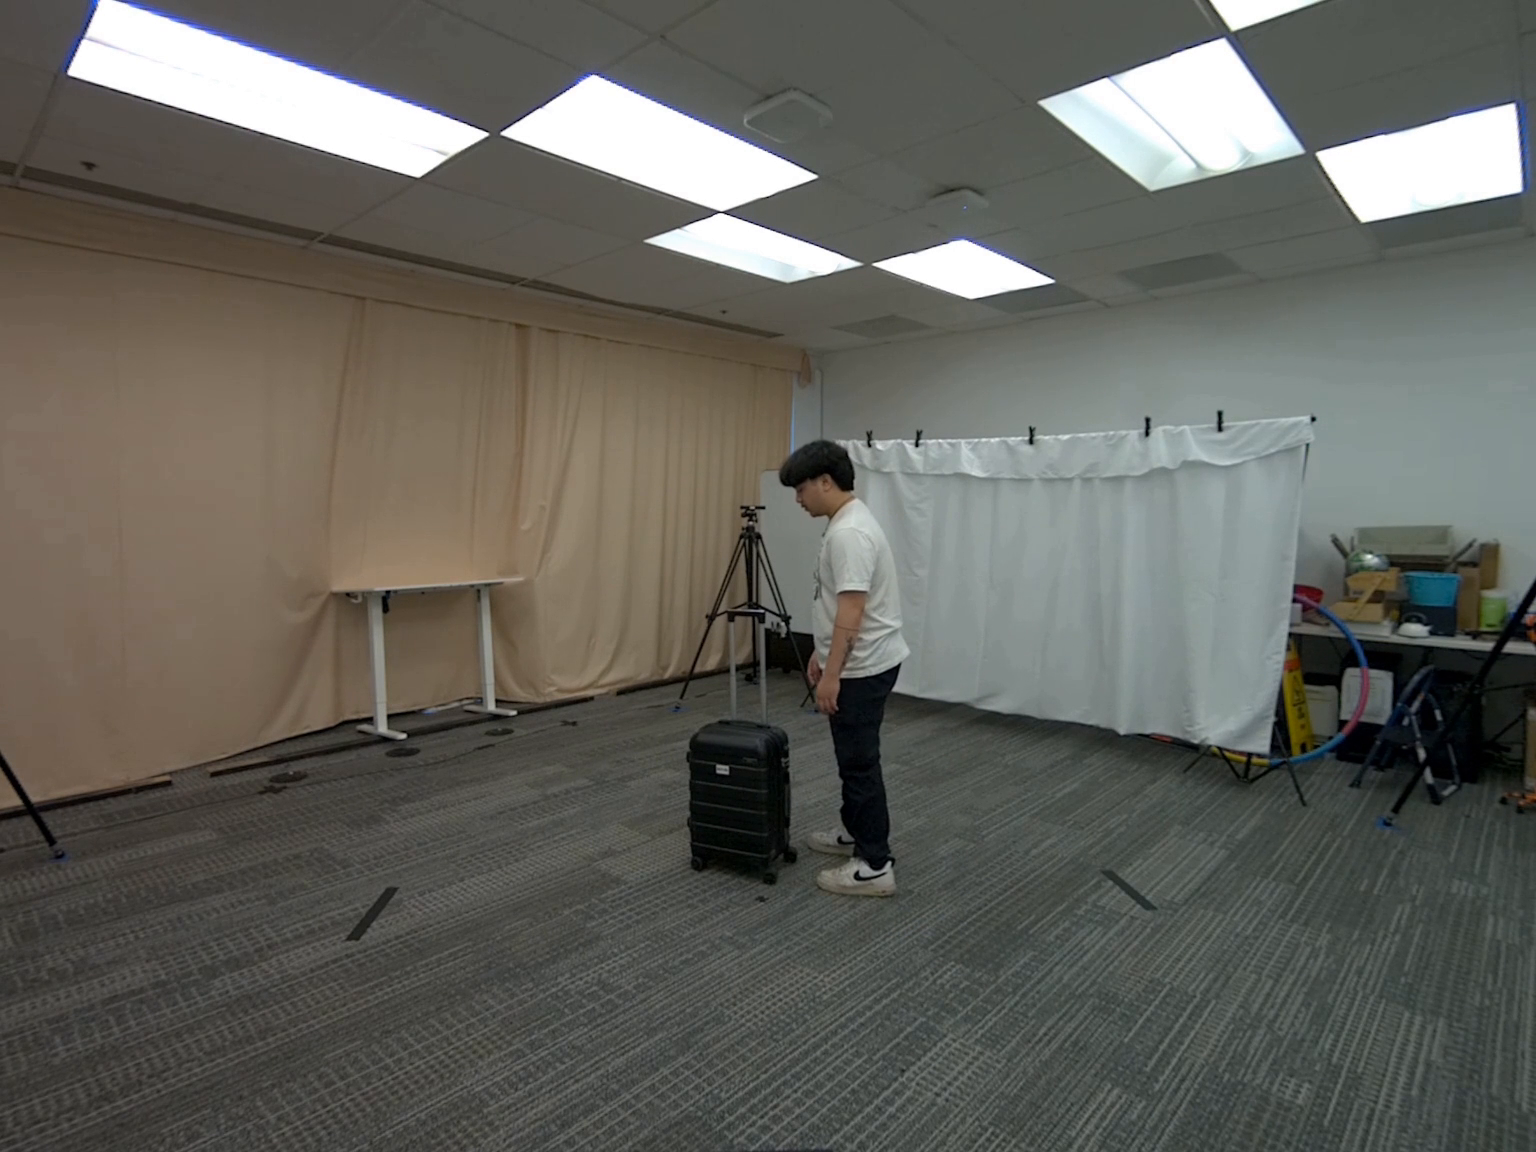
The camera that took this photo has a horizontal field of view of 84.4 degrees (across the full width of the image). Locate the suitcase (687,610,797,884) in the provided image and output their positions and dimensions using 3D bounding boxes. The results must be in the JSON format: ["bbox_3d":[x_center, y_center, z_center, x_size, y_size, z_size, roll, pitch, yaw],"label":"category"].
[{"bbox_3d":[-0.112,0.651,3.242,0.394,0.975,0.251,-1,5,25],"label":"suitcase"}]
